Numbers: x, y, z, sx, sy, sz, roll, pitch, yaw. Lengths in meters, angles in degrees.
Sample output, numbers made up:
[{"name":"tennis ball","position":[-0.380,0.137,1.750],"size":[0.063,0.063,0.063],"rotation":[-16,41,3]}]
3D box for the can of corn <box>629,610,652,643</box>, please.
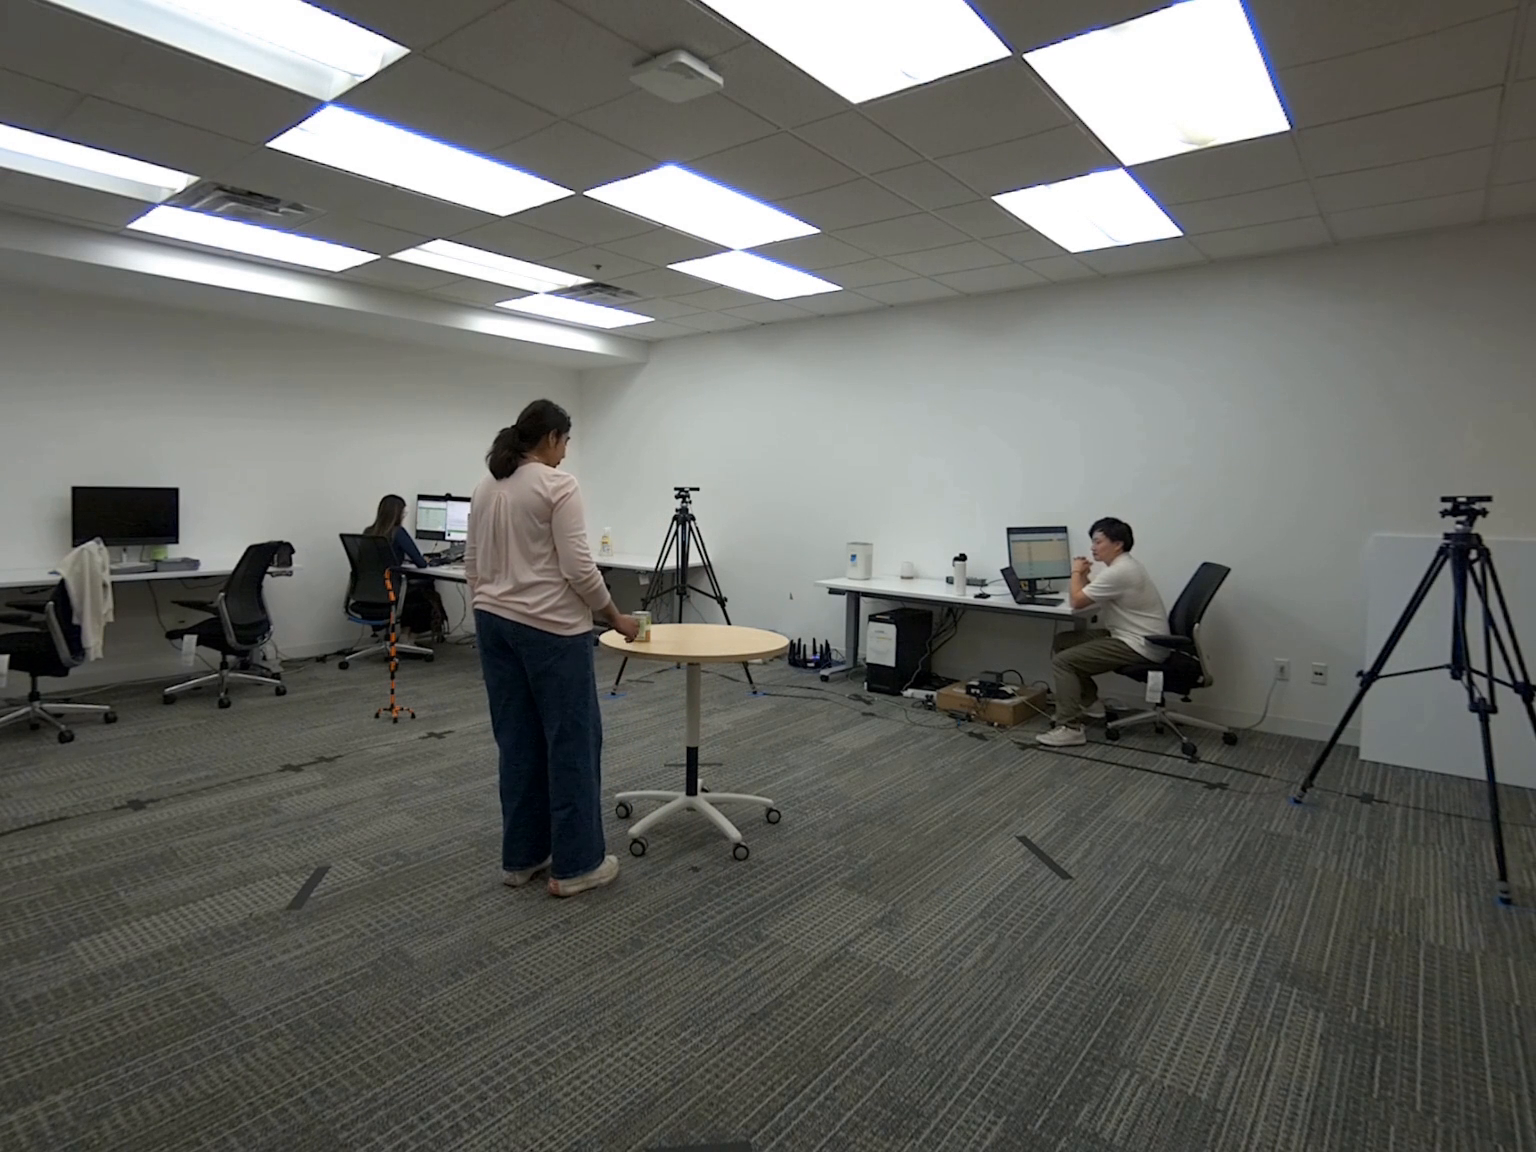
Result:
[{"name":"can of corn","position":[-0.510,0.197,3.347],"size":[0.074,0.111,0.074],"rotation":[0,3,-2]}]
